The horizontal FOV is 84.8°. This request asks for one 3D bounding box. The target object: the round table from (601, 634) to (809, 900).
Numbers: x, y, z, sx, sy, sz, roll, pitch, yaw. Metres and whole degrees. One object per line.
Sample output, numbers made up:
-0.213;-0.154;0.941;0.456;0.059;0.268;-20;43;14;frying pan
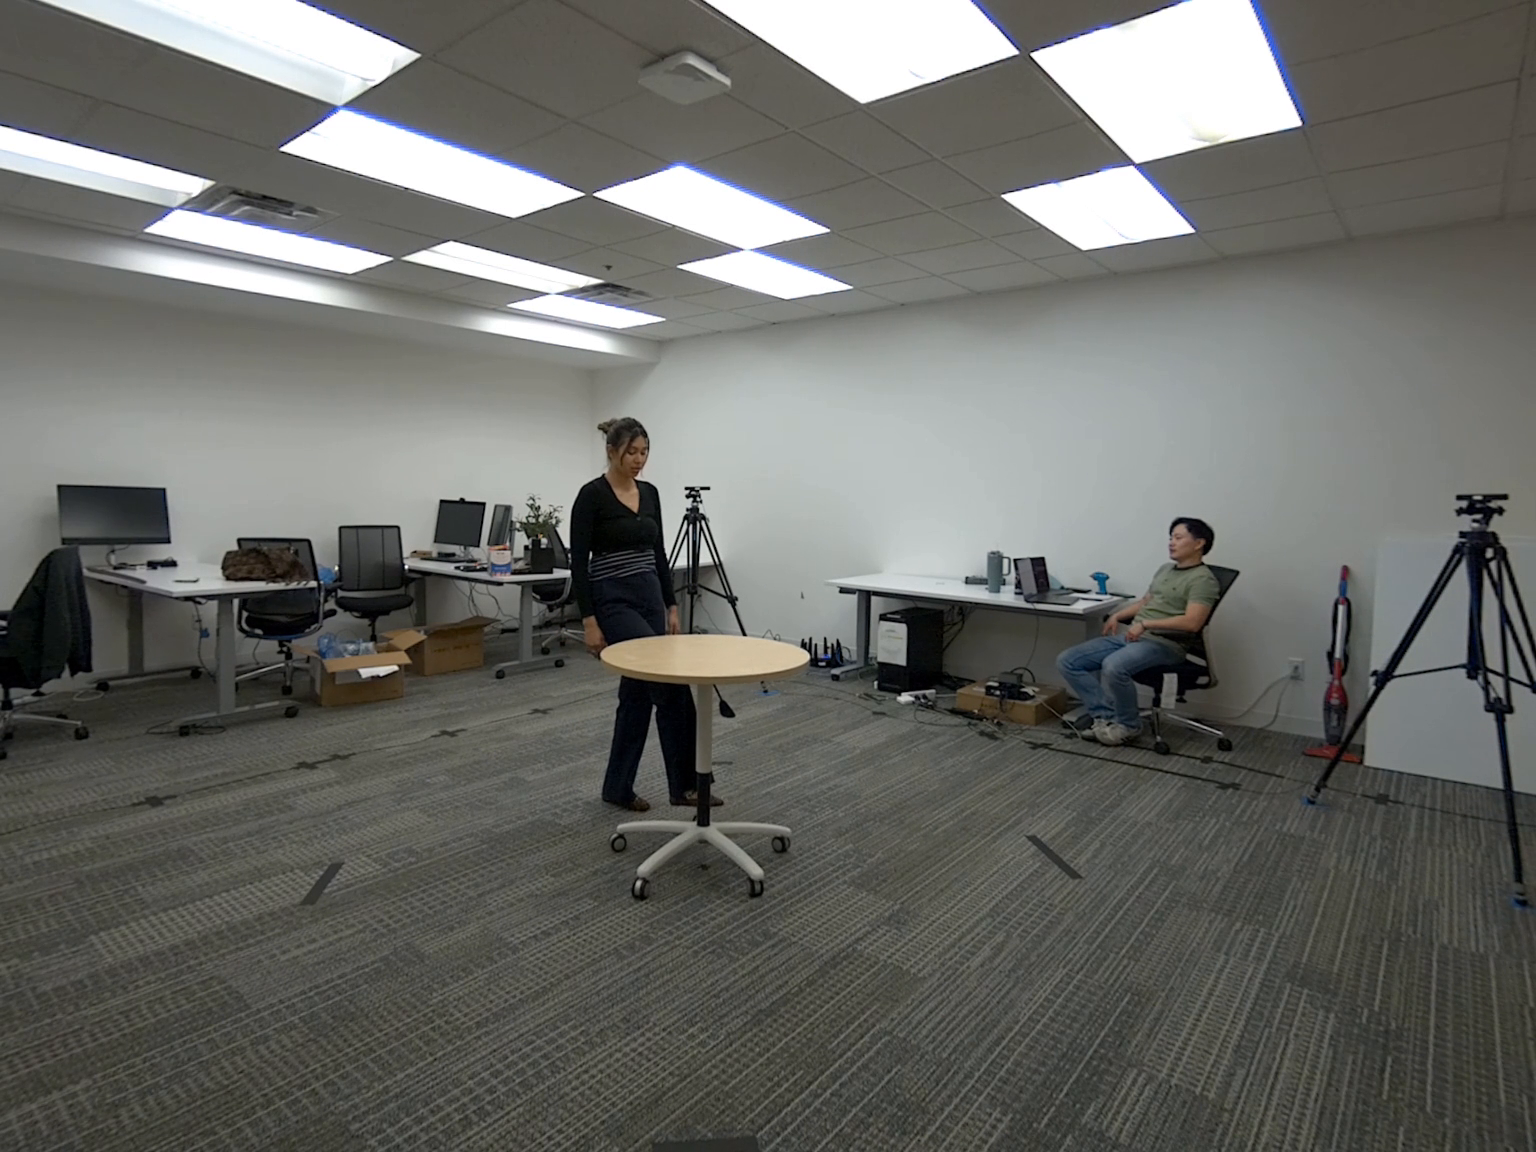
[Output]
-0.245;0.671;3.141;0.763;0.791;0.768;1;4;-2;round table
